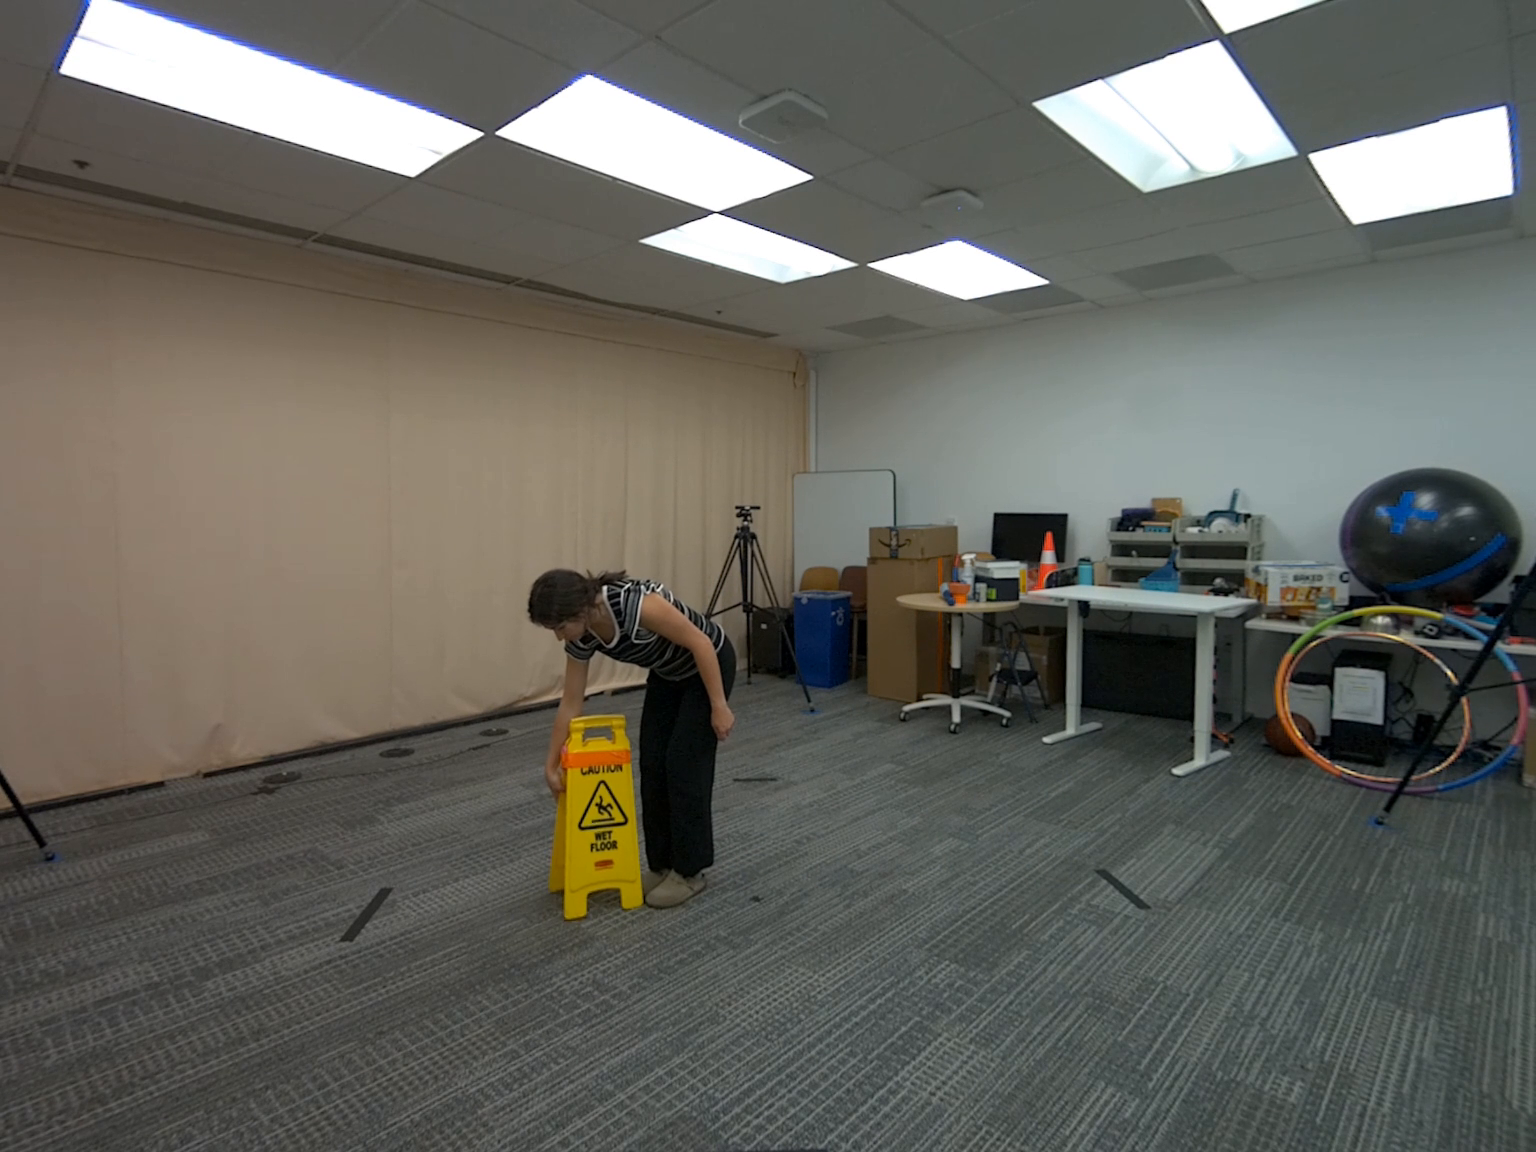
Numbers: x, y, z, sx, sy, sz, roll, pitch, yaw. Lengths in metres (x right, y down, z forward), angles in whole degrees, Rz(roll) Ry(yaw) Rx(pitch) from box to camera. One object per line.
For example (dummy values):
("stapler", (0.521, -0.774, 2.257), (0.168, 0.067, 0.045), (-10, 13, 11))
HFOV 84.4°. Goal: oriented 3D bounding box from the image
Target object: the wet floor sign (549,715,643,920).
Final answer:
("wet floor sign", (-0.609, 0.822, 2.981), (0.276, 0.646, 0.297), (1, 1, -24))
